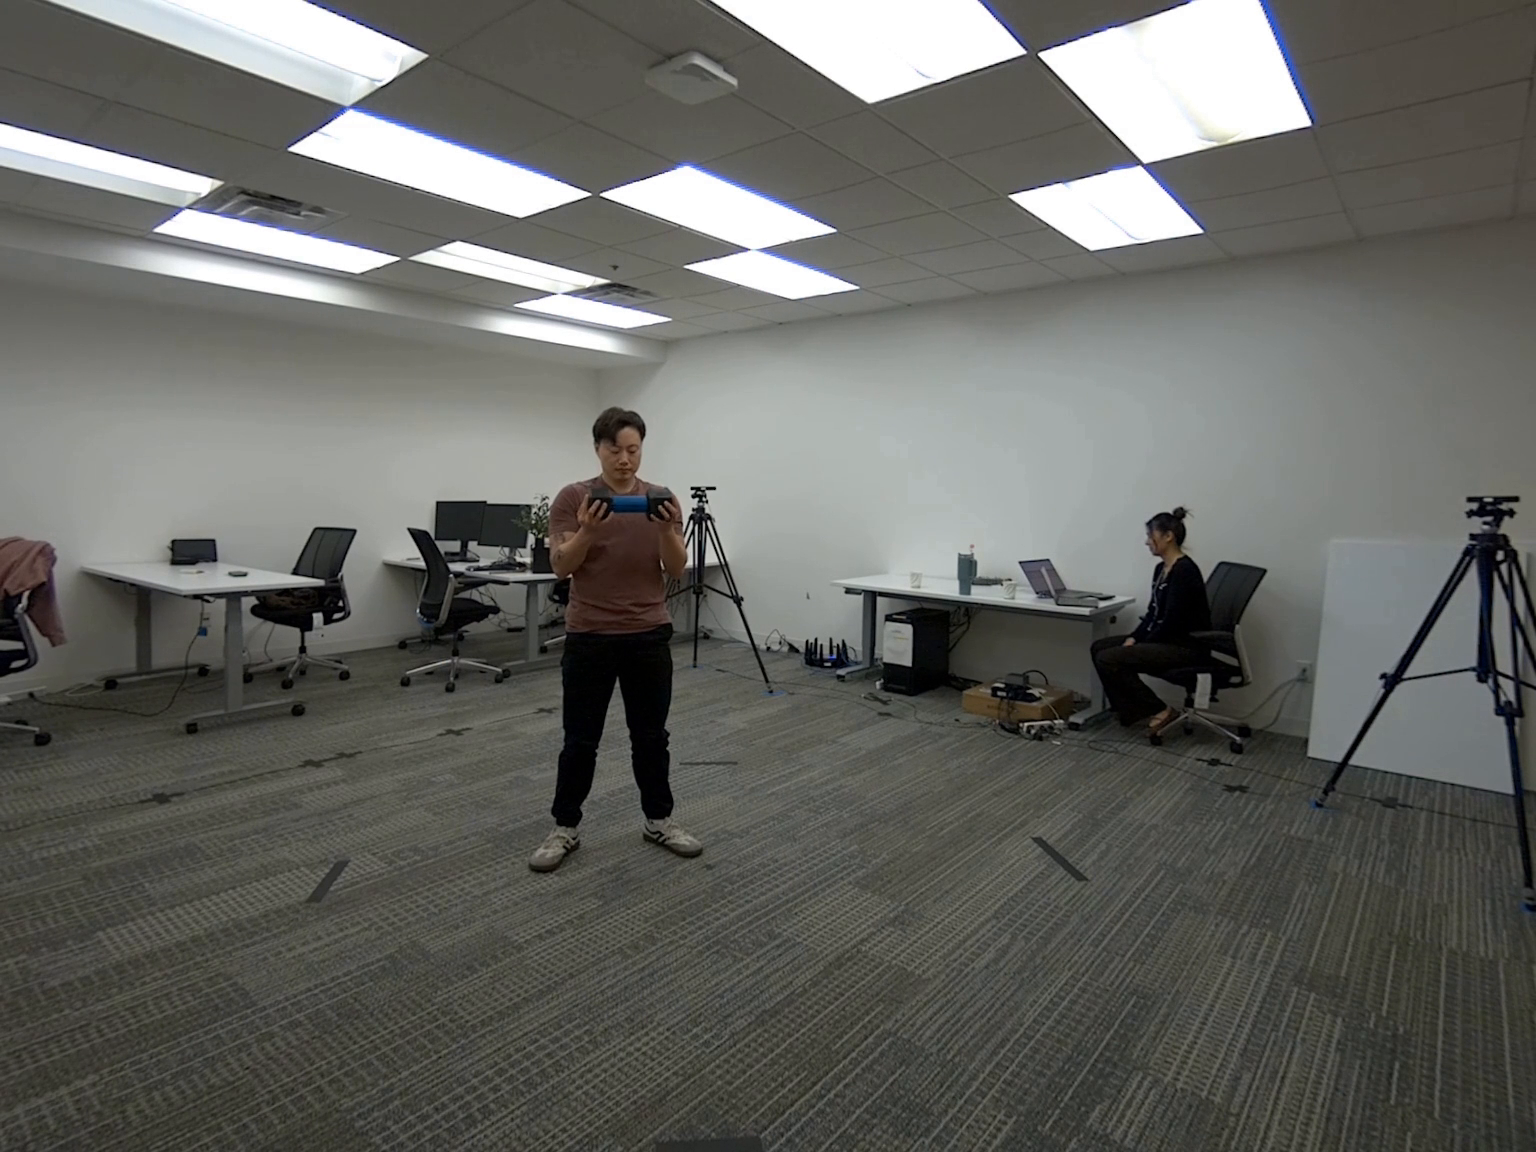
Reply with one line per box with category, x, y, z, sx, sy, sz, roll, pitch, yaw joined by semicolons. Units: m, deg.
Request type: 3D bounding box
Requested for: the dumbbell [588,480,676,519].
dumbbell;-0.506;-0.257;2.974;0.290;0.111;0.122;0;-18;-11
